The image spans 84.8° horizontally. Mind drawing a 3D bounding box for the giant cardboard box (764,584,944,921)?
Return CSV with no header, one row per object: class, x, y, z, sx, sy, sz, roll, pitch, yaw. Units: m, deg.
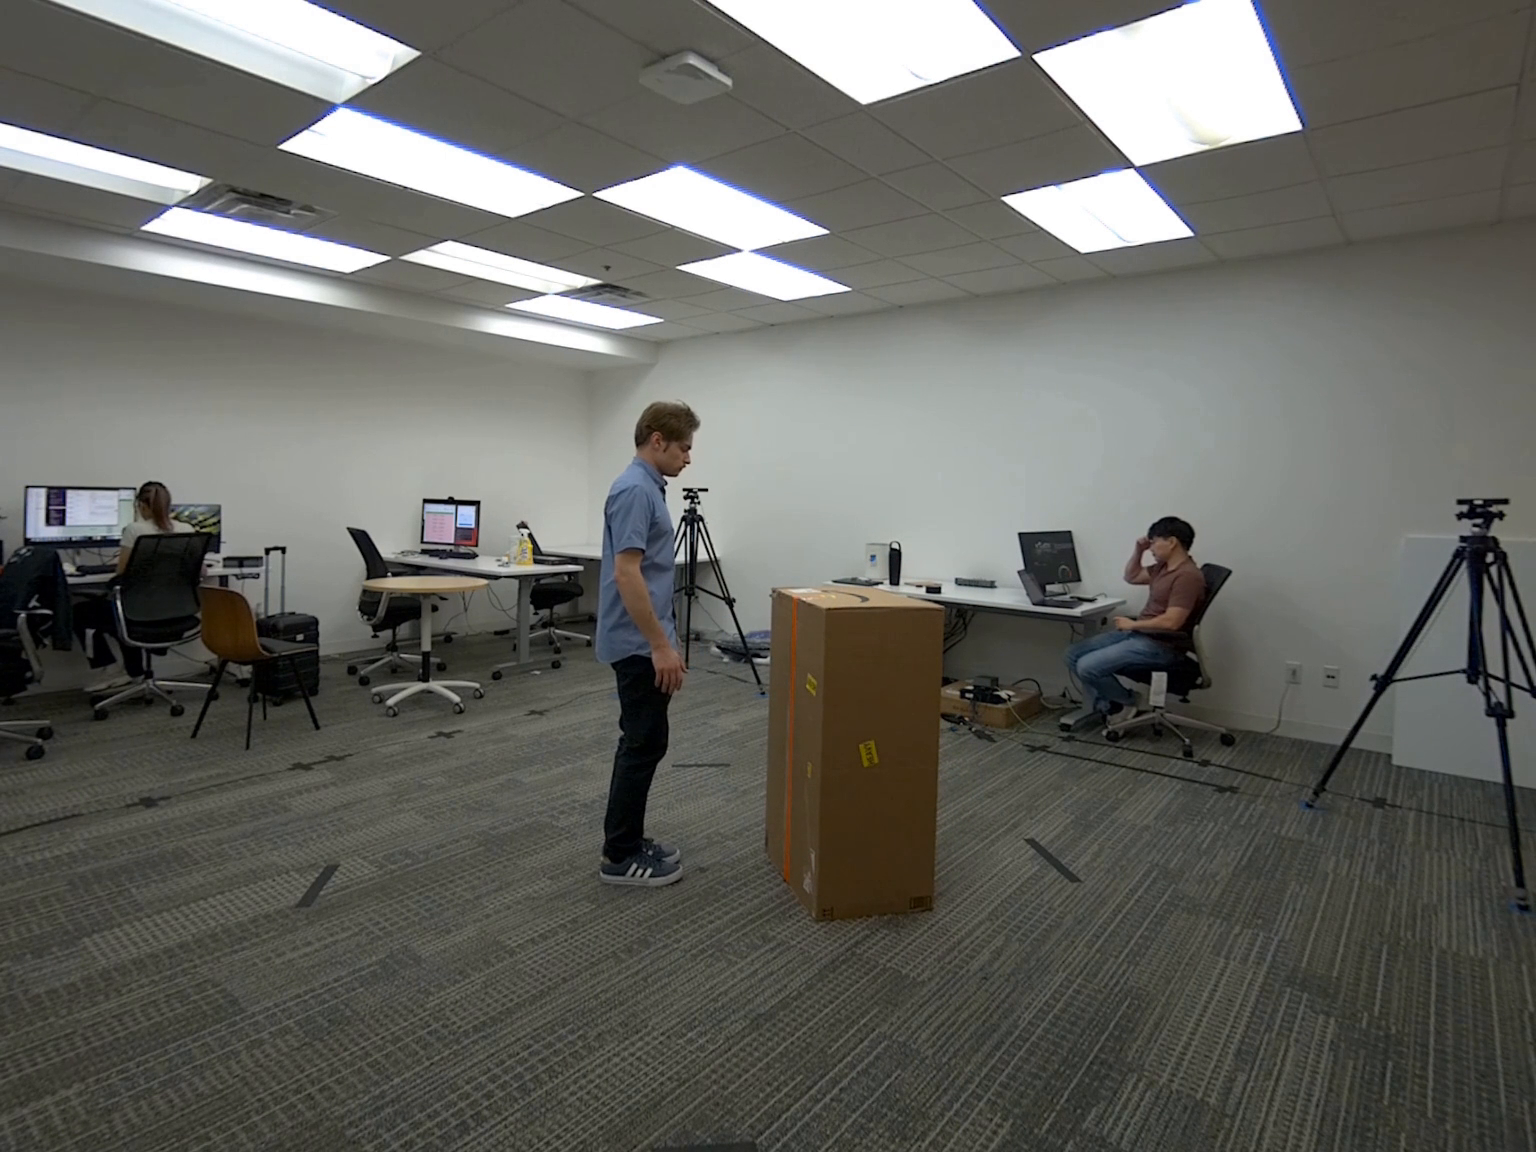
giant cardboard box,0.281,0.578,3.030,0.441,1.024,0.594,0,3,-14
